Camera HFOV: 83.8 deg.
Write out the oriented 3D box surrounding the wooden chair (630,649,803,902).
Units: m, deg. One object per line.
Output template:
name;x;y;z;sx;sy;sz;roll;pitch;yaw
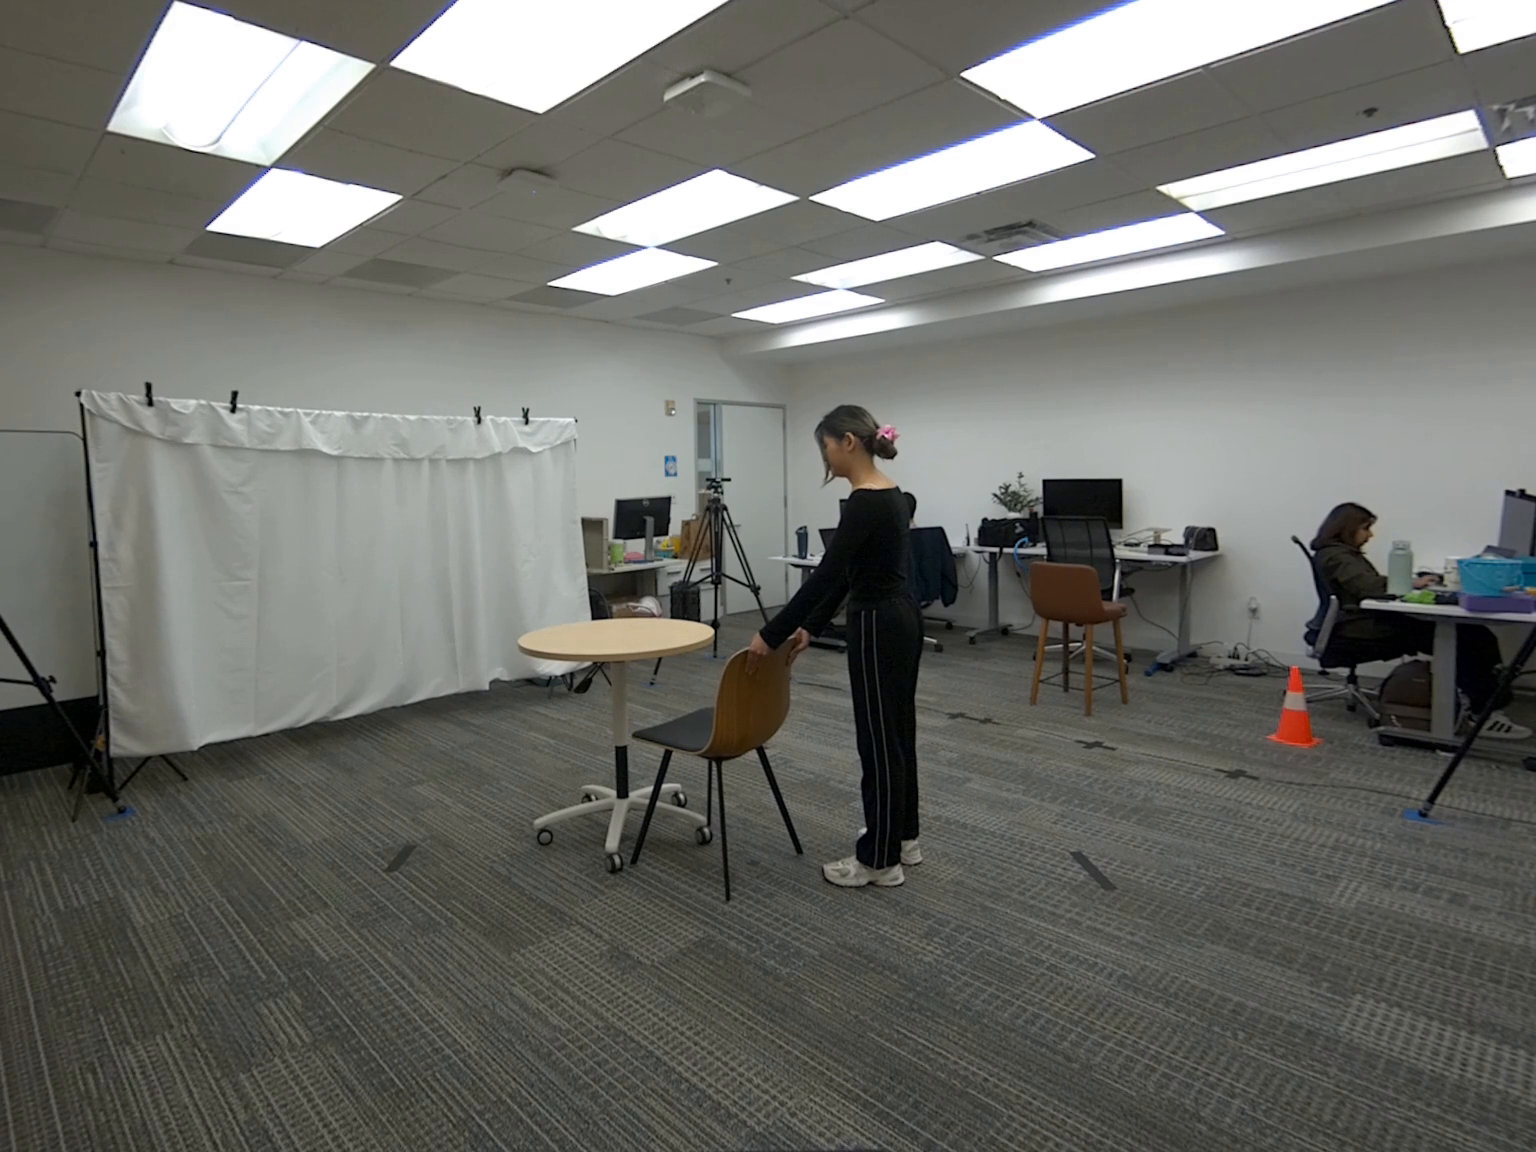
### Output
wooden chair;-0.190;0.614;3.102;0.540;0.872;0.466;8;9;37
